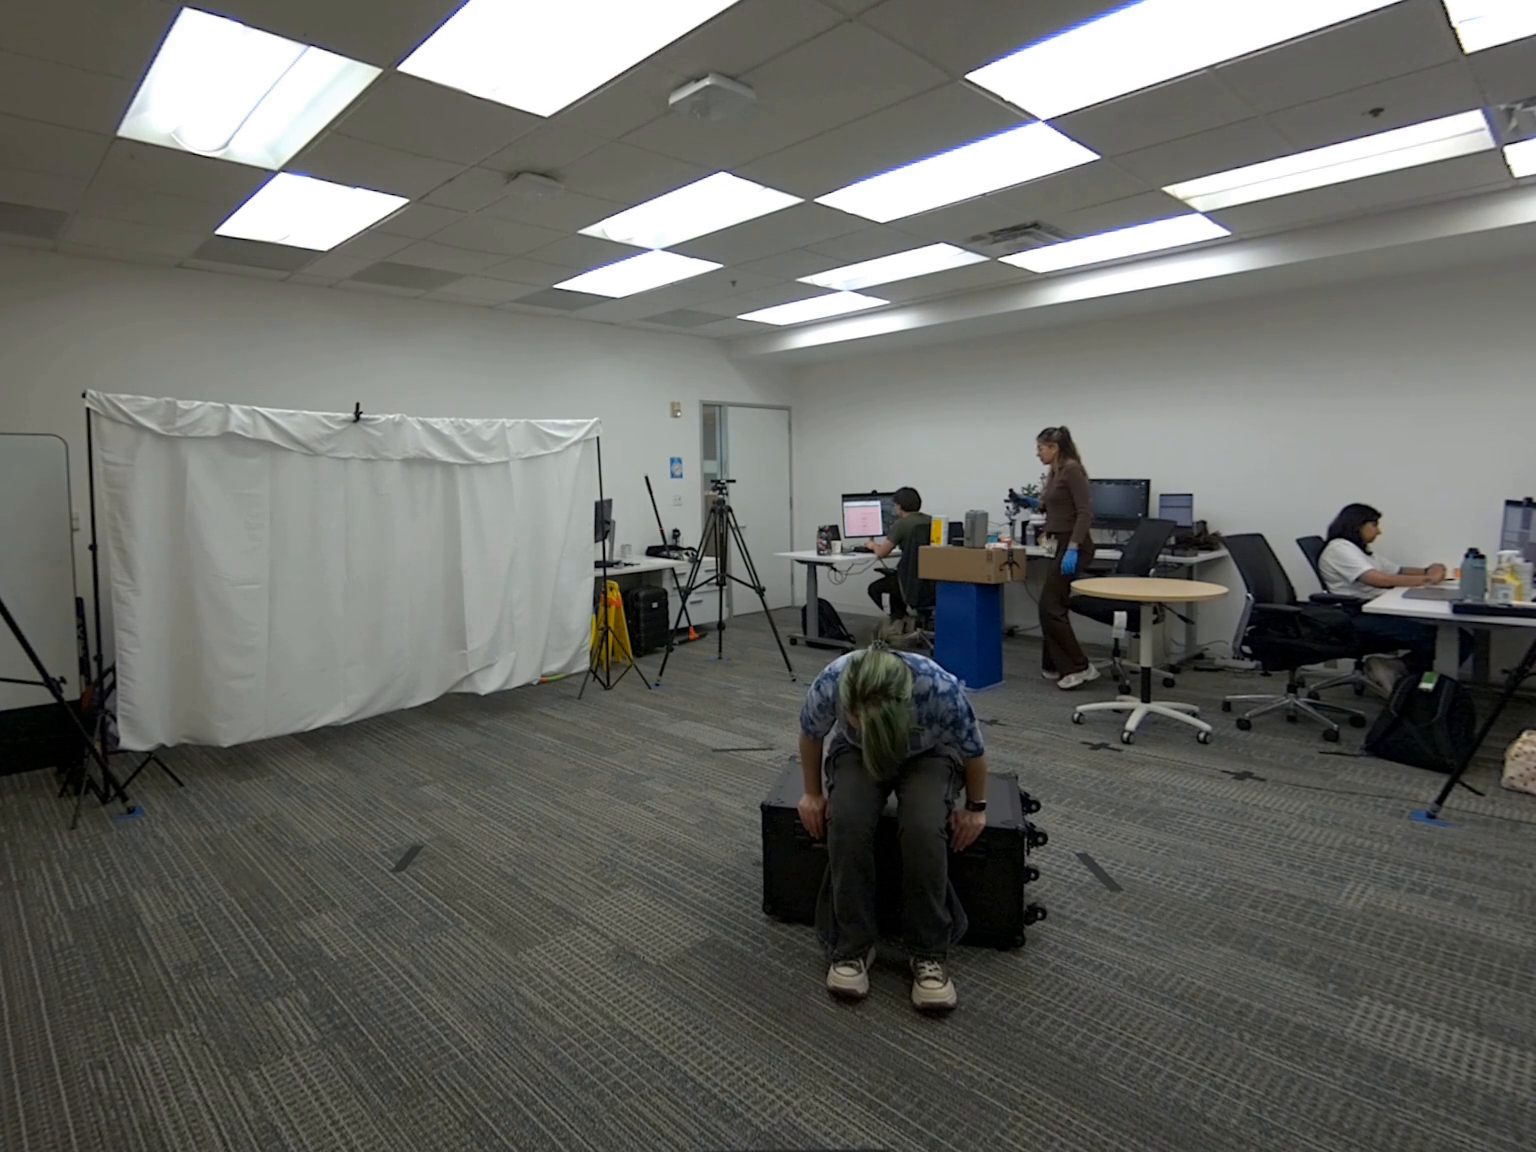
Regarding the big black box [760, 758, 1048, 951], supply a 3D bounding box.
[{"bbox_3d":[0.447,0.880,2.802,0.874,0.395,0.516,0,5,15],"label":"big black box"}]
